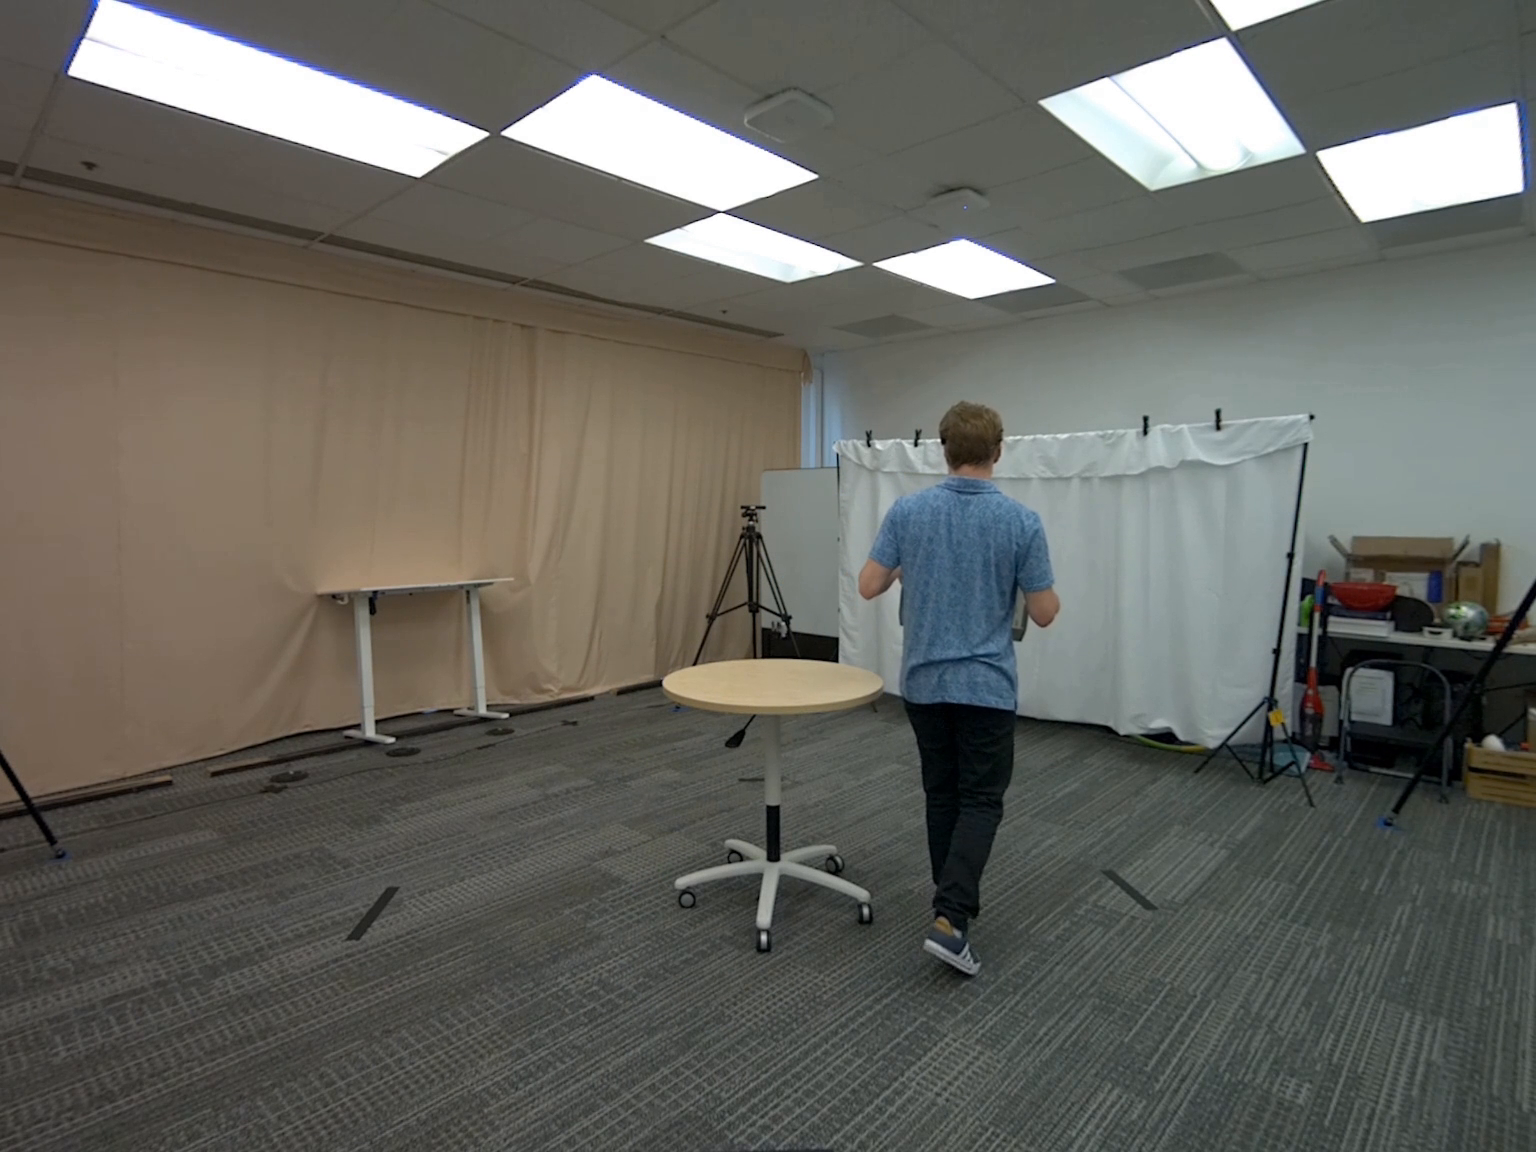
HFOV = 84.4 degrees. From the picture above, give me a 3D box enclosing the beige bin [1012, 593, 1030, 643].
[{"bbox_3d":[0.705,0.048,2.966,0.429,0.185,0.378,7,36,13],"label":"beige bin"}]
